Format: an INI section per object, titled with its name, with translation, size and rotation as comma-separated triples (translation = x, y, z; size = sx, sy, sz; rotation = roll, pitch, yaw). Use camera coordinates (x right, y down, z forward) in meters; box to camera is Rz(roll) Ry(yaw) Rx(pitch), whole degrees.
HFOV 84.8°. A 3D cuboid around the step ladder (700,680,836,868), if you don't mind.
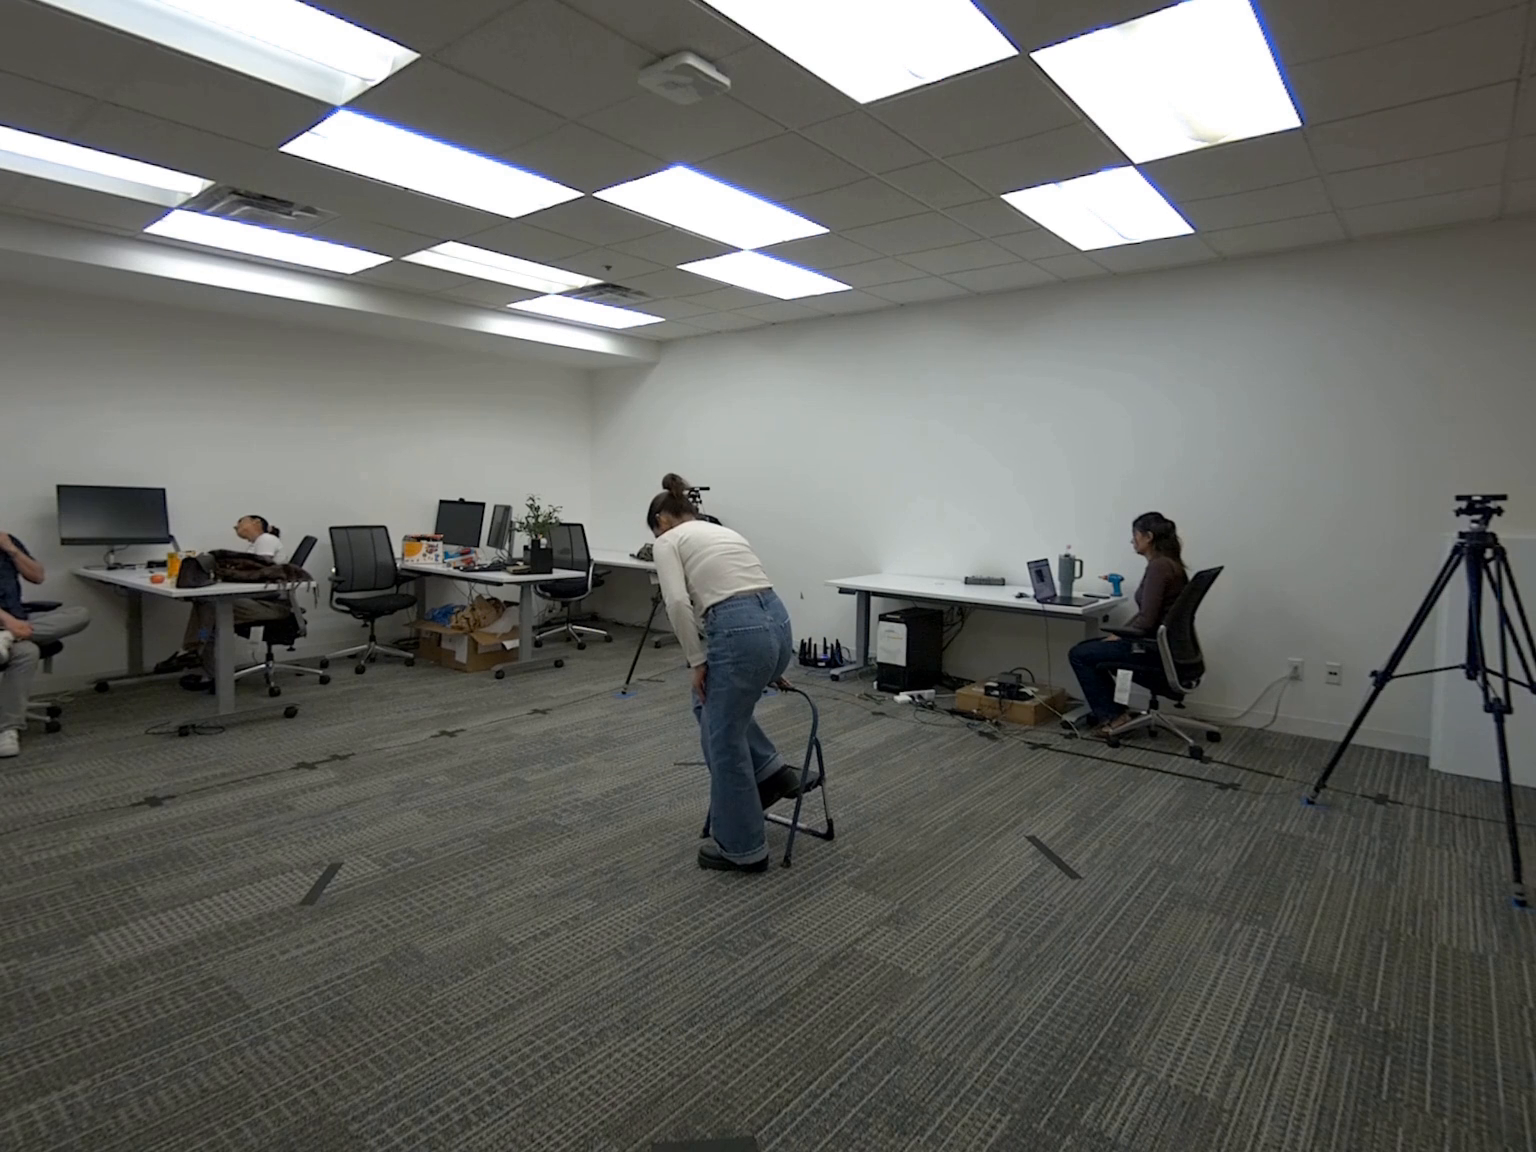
[step ladder]
translation = 0.000, 0.737, 3.374
size = 0.445, 0.604, 0.339
rotation = 4, 5, 38
